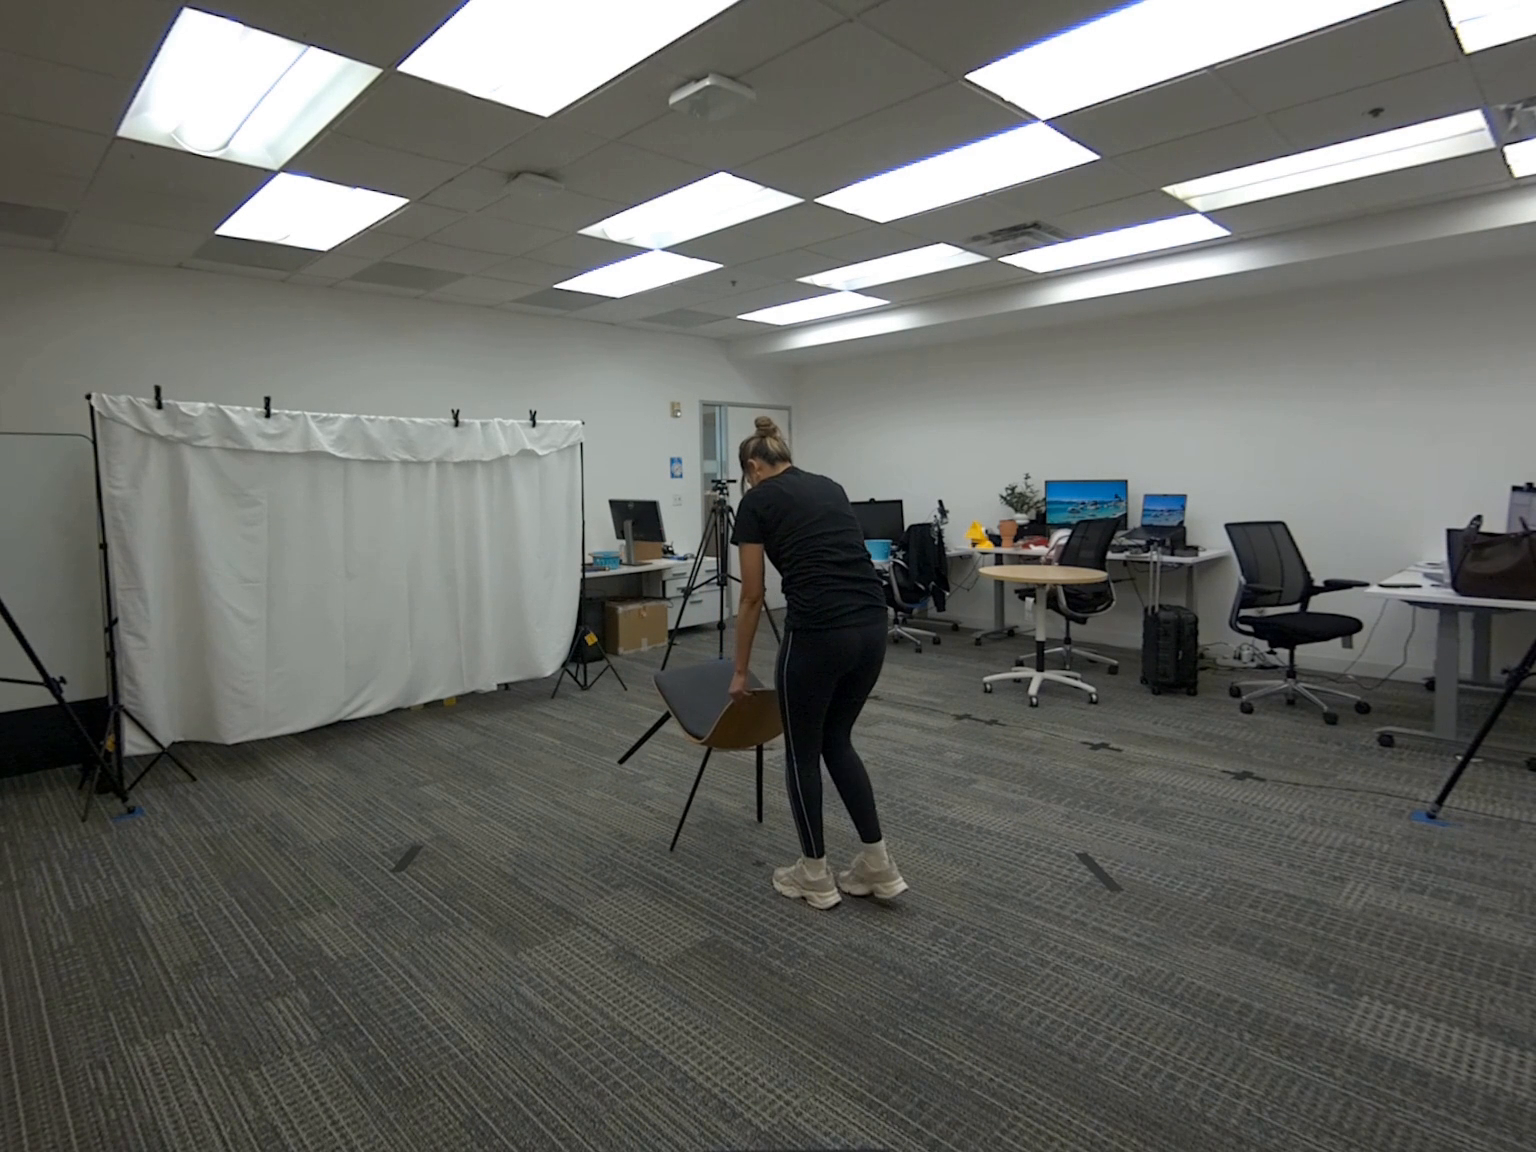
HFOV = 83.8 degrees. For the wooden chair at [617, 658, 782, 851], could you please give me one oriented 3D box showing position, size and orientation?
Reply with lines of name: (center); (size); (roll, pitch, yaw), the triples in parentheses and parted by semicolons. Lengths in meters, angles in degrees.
wooden chair: (-0.181, 0.538, 3.301); (0.465, 0.868, 0.543); (-4, 43, -39)
